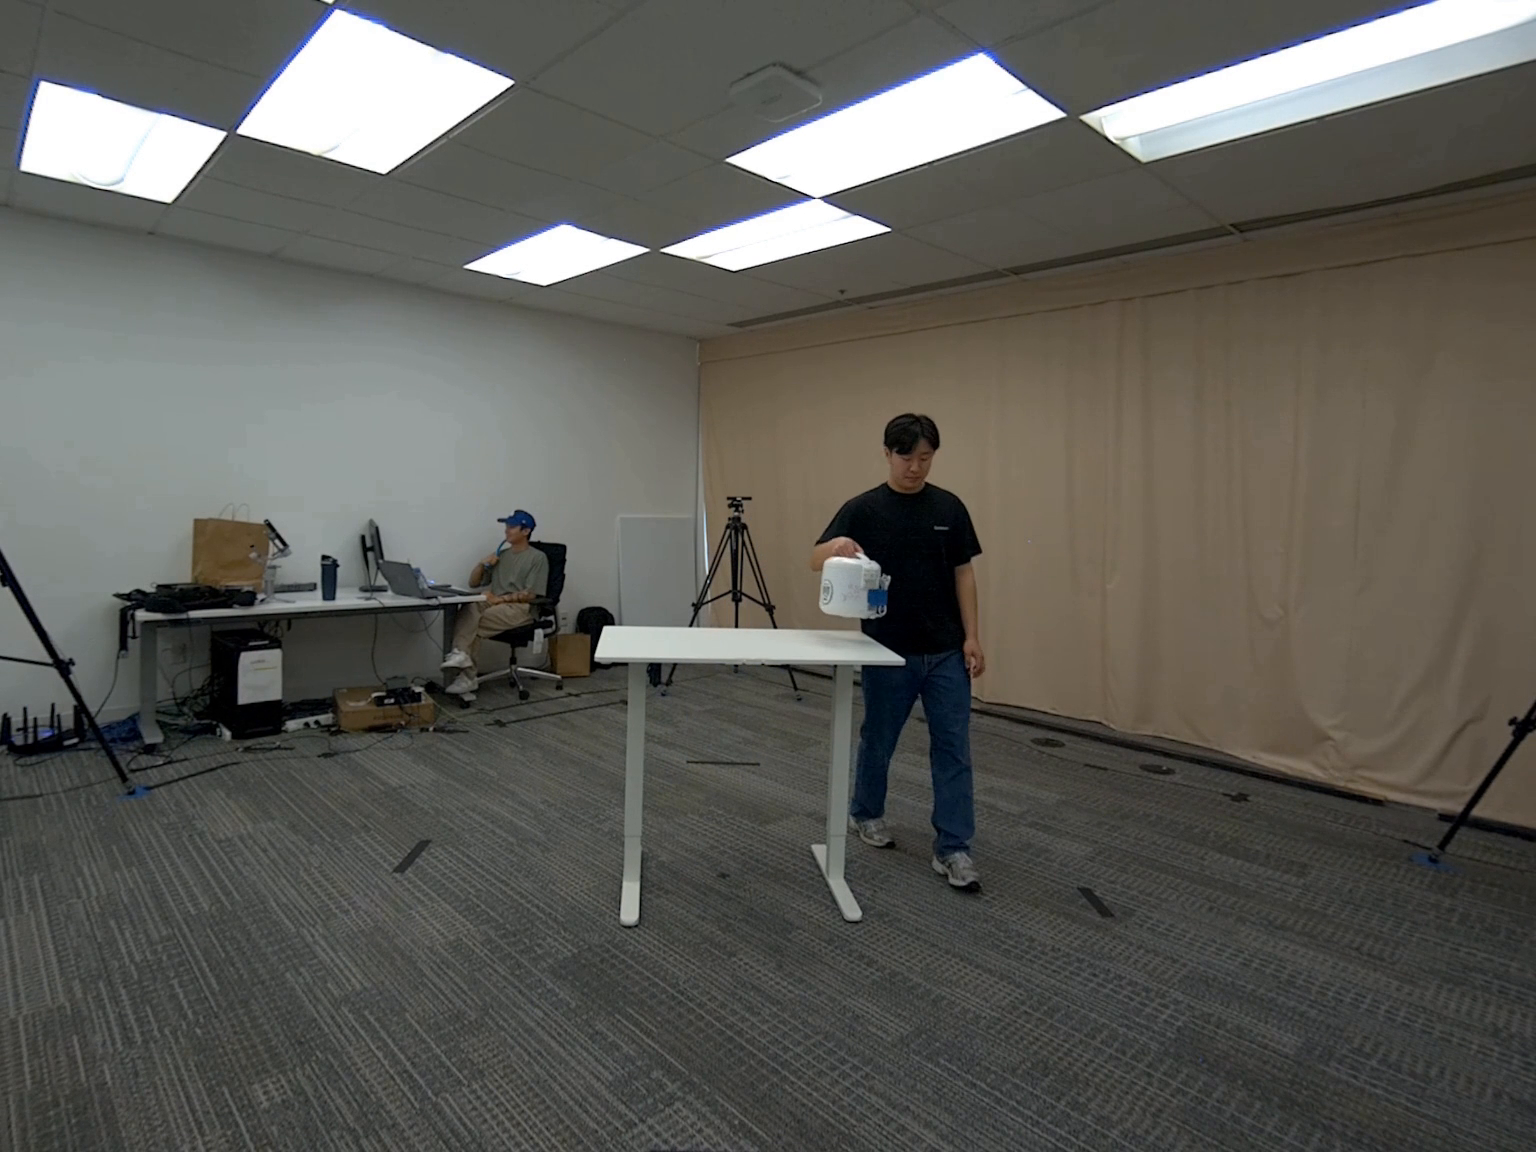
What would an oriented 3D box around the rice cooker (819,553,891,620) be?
[{"bbox_3d":[0.299,0.030,3.035,0.212,0.233,0.225,7,-2,-33],"label":"rice cooker"}]
